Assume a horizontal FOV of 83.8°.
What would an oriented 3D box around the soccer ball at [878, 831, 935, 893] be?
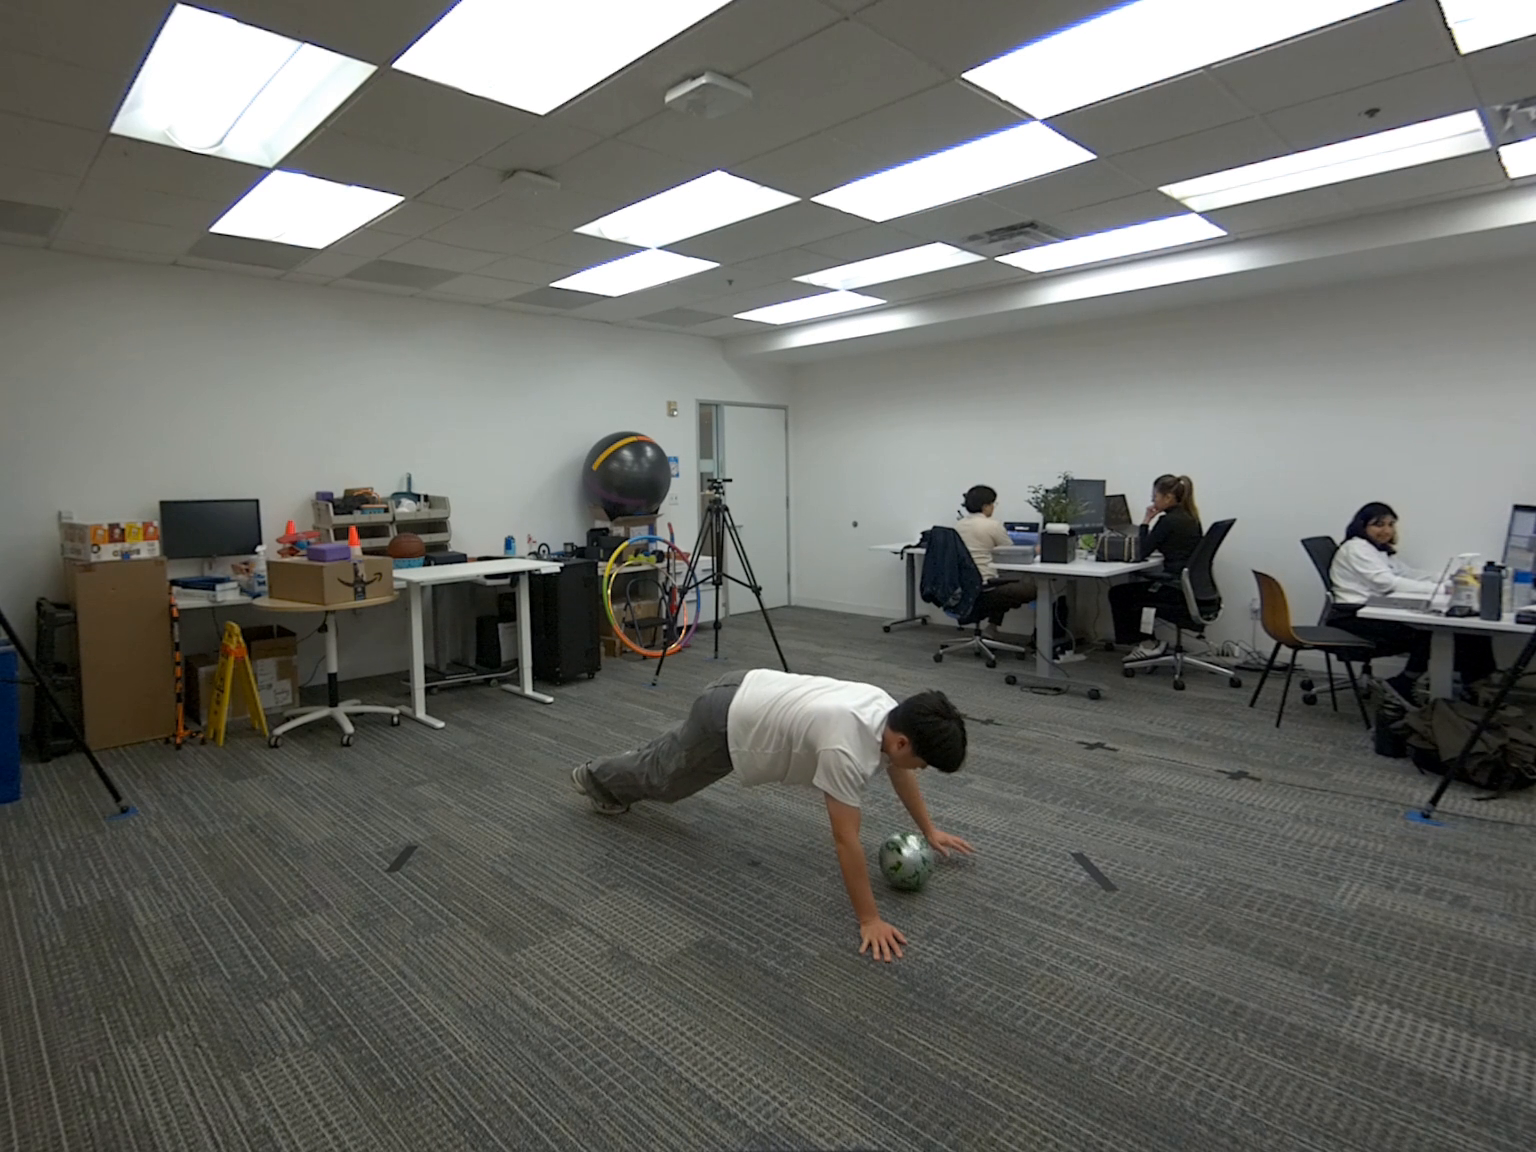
[{"bbox_3d":[0.475,0.968,2.909,0.187,0.187,0.188,-1,5,-2],"label":"soccer ball"}]
